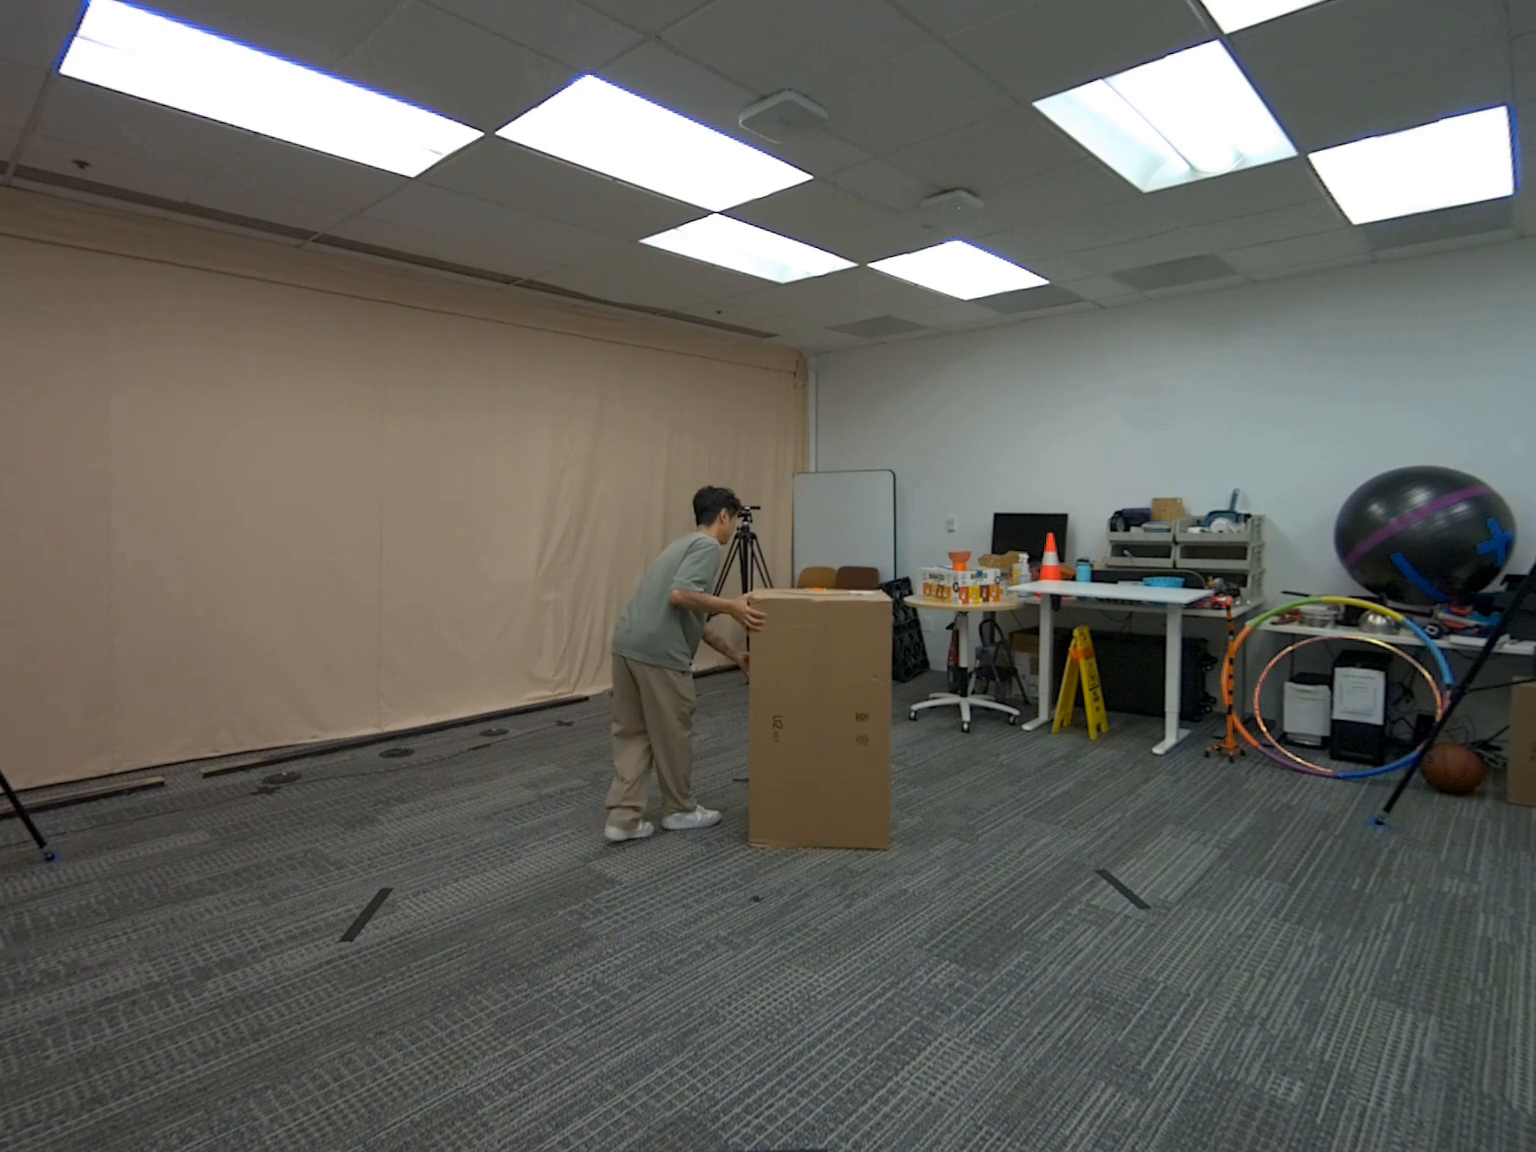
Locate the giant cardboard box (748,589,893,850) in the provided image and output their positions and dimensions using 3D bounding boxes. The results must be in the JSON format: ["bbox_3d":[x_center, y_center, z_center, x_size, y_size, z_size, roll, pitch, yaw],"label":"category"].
[{"bbox_3d":[0.219,0.584,3.602,0.580,1.023,0.425,0,3,3],"label":"giant cardboard box"}]
